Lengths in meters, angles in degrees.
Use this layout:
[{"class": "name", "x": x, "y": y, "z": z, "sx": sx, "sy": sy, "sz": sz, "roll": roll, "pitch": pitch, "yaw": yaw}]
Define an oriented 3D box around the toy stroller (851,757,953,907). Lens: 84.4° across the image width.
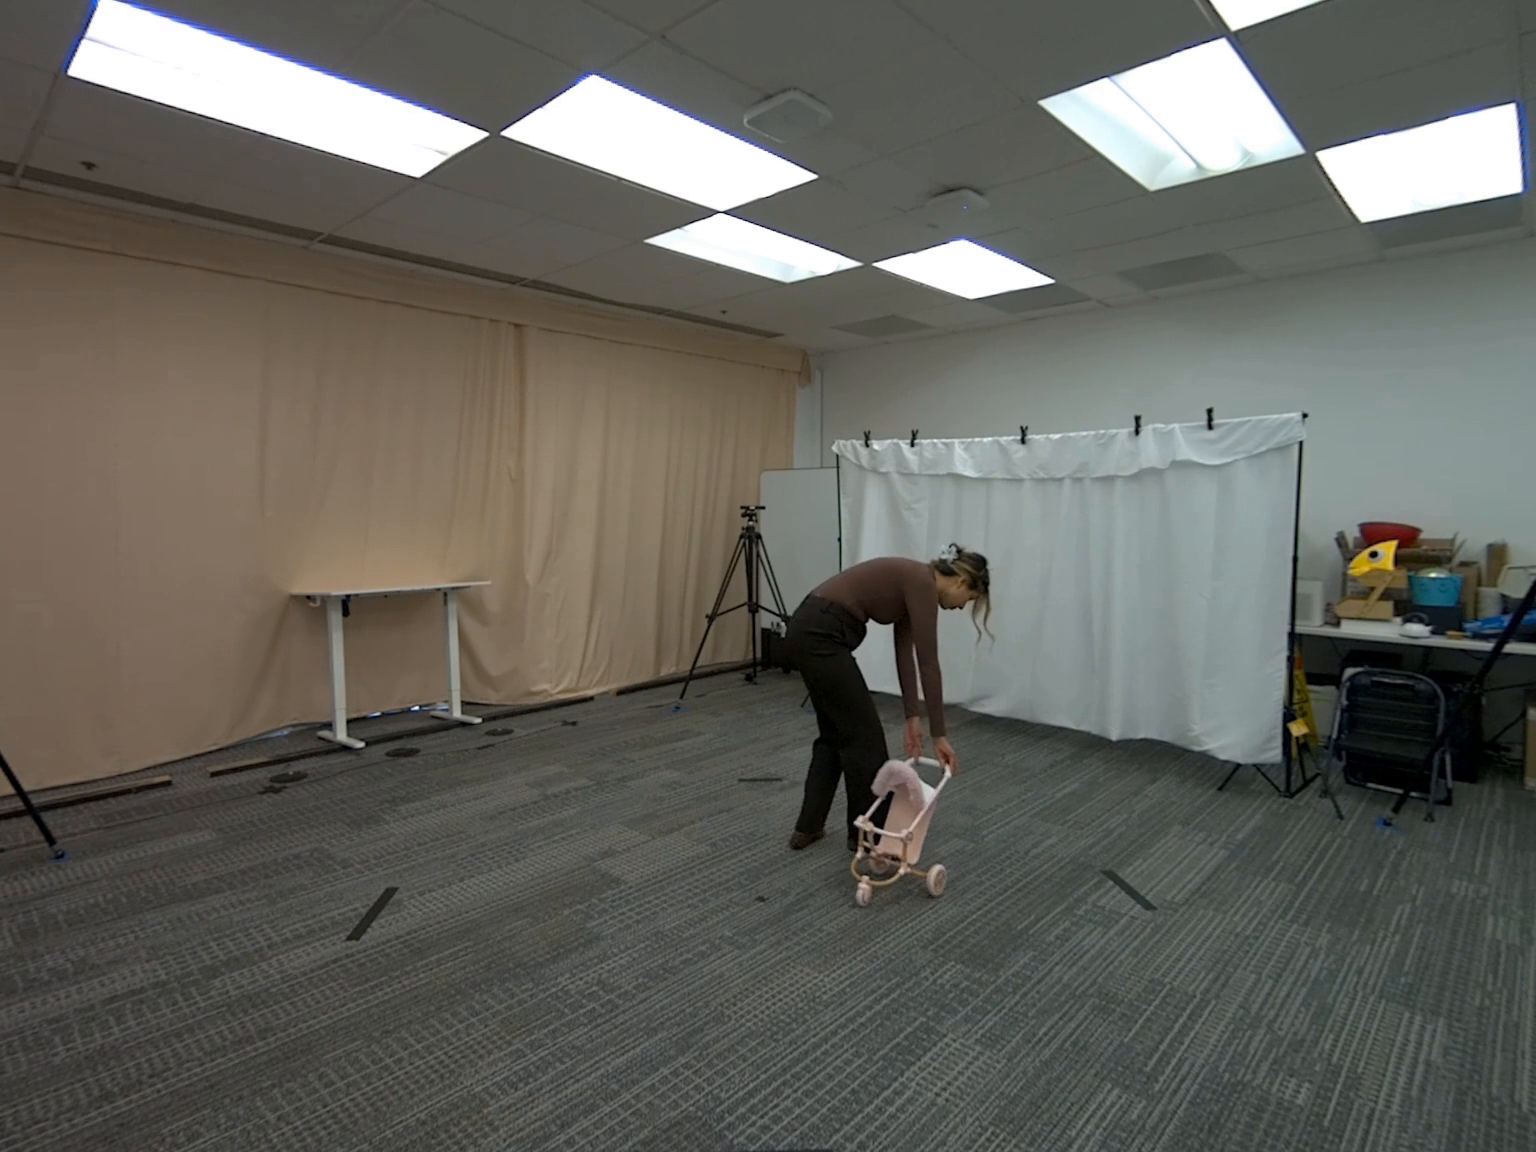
[{"class": "toy stroller", "x": 0.470, "y": 0.908, "z": 3.049, "sx": 0.329, "sy": 0.537, "sz": 0.290, "roll": 18, "pitch": -10, "yaw": -39}]
